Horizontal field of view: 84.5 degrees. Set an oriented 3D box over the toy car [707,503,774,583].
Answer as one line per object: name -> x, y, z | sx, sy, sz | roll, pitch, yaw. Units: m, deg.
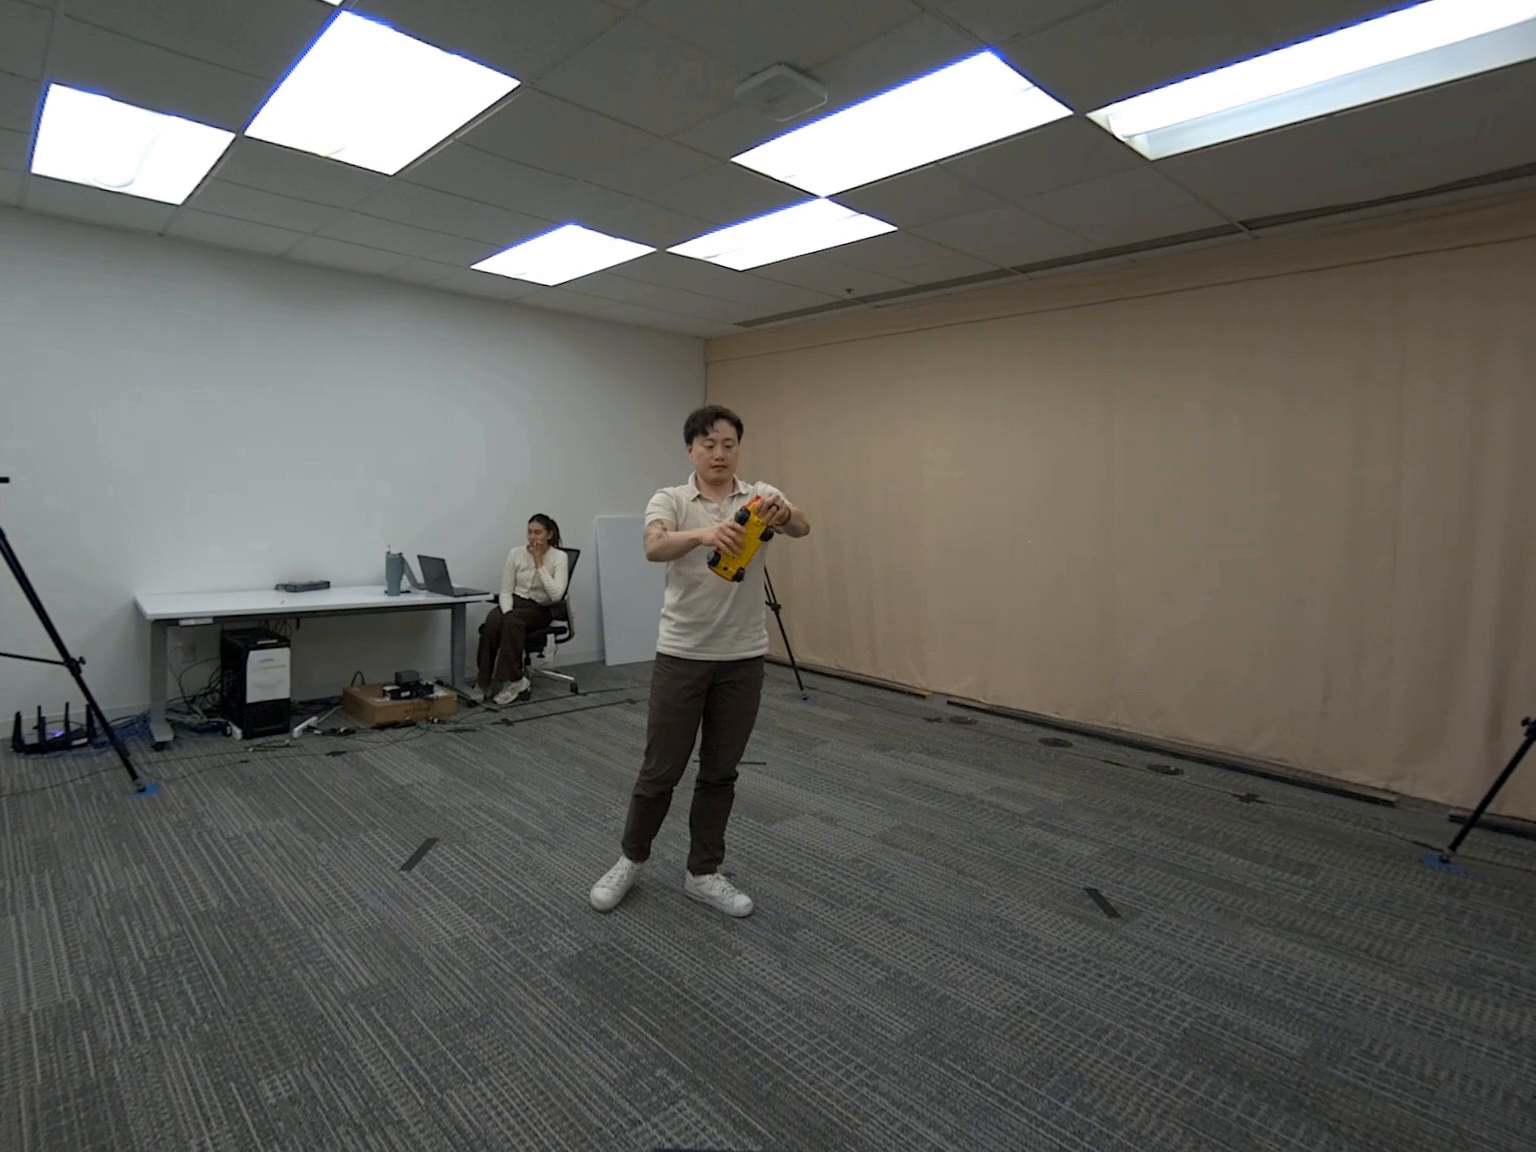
toy car -> -0.074, -0.096, 2.397 | 0.128, 0.255, 0.084 | 28, -4, -18
